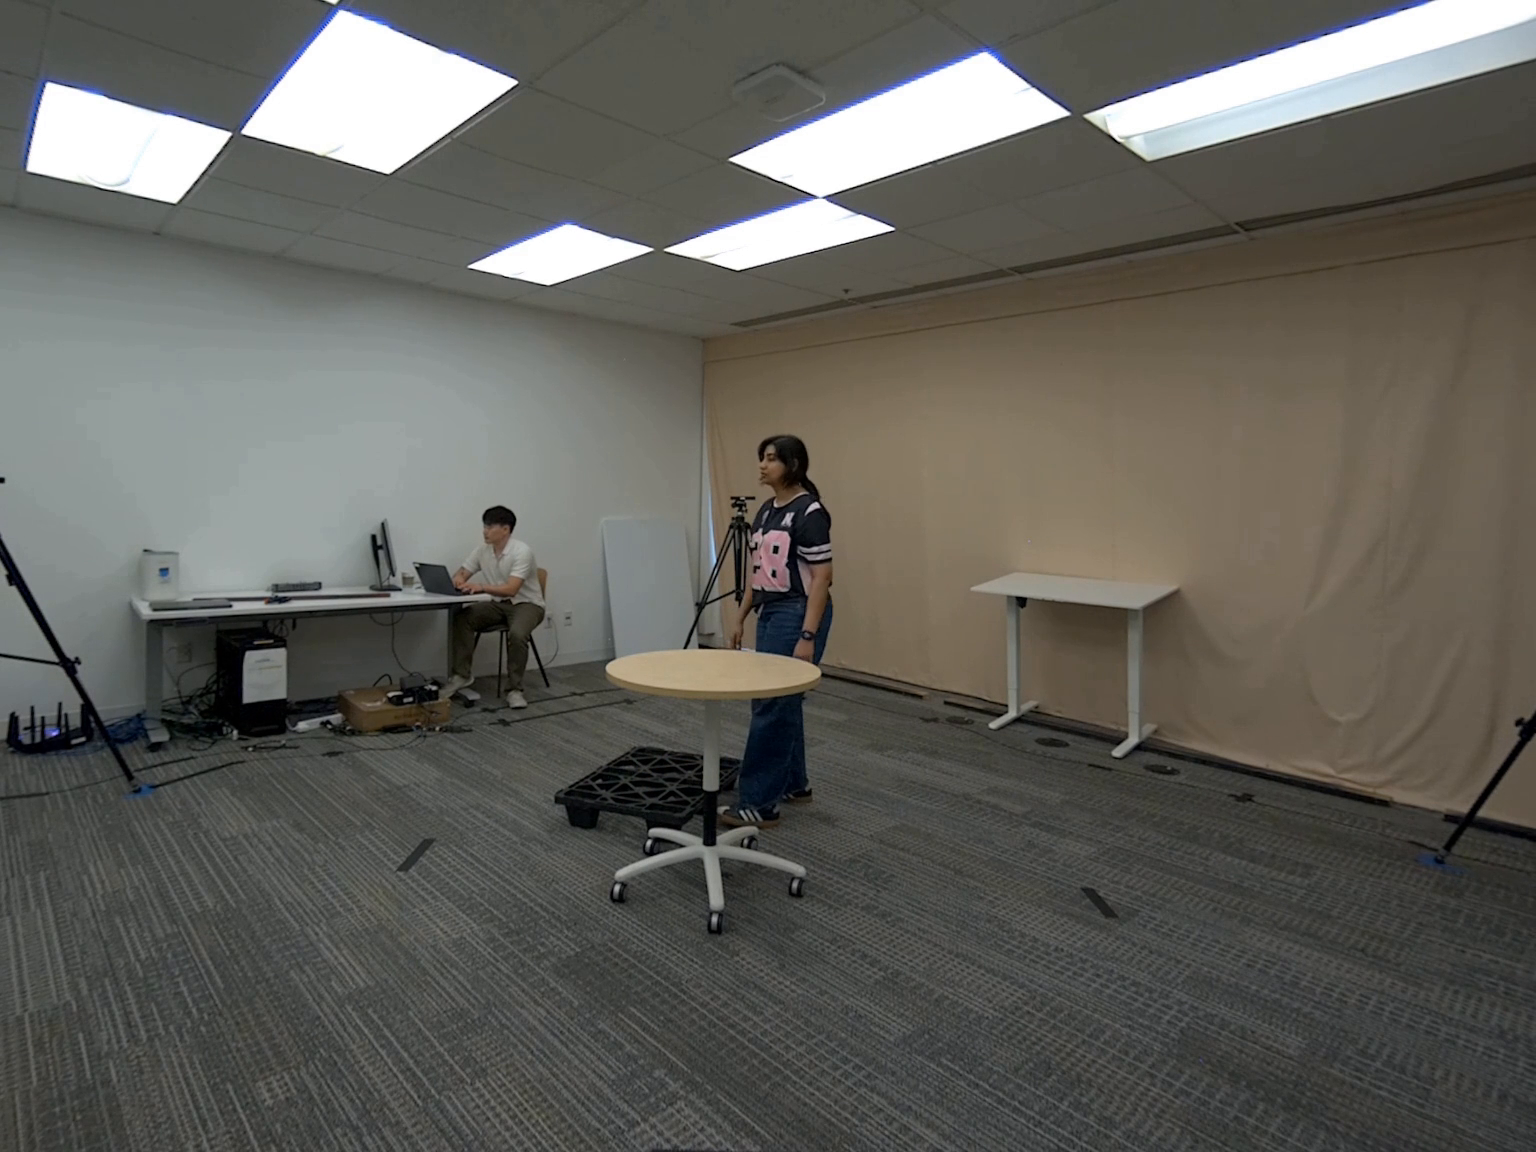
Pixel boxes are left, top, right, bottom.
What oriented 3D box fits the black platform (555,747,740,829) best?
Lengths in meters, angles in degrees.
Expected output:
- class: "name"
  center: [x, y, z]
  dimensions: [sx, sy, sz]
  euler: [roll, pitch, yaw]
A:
- class: "black platform"
  center: [-0.499, 0.966, 3.789]
  dimensions: [0.614, 0.143, 0.796]
  euler: [3, 6, 18]
